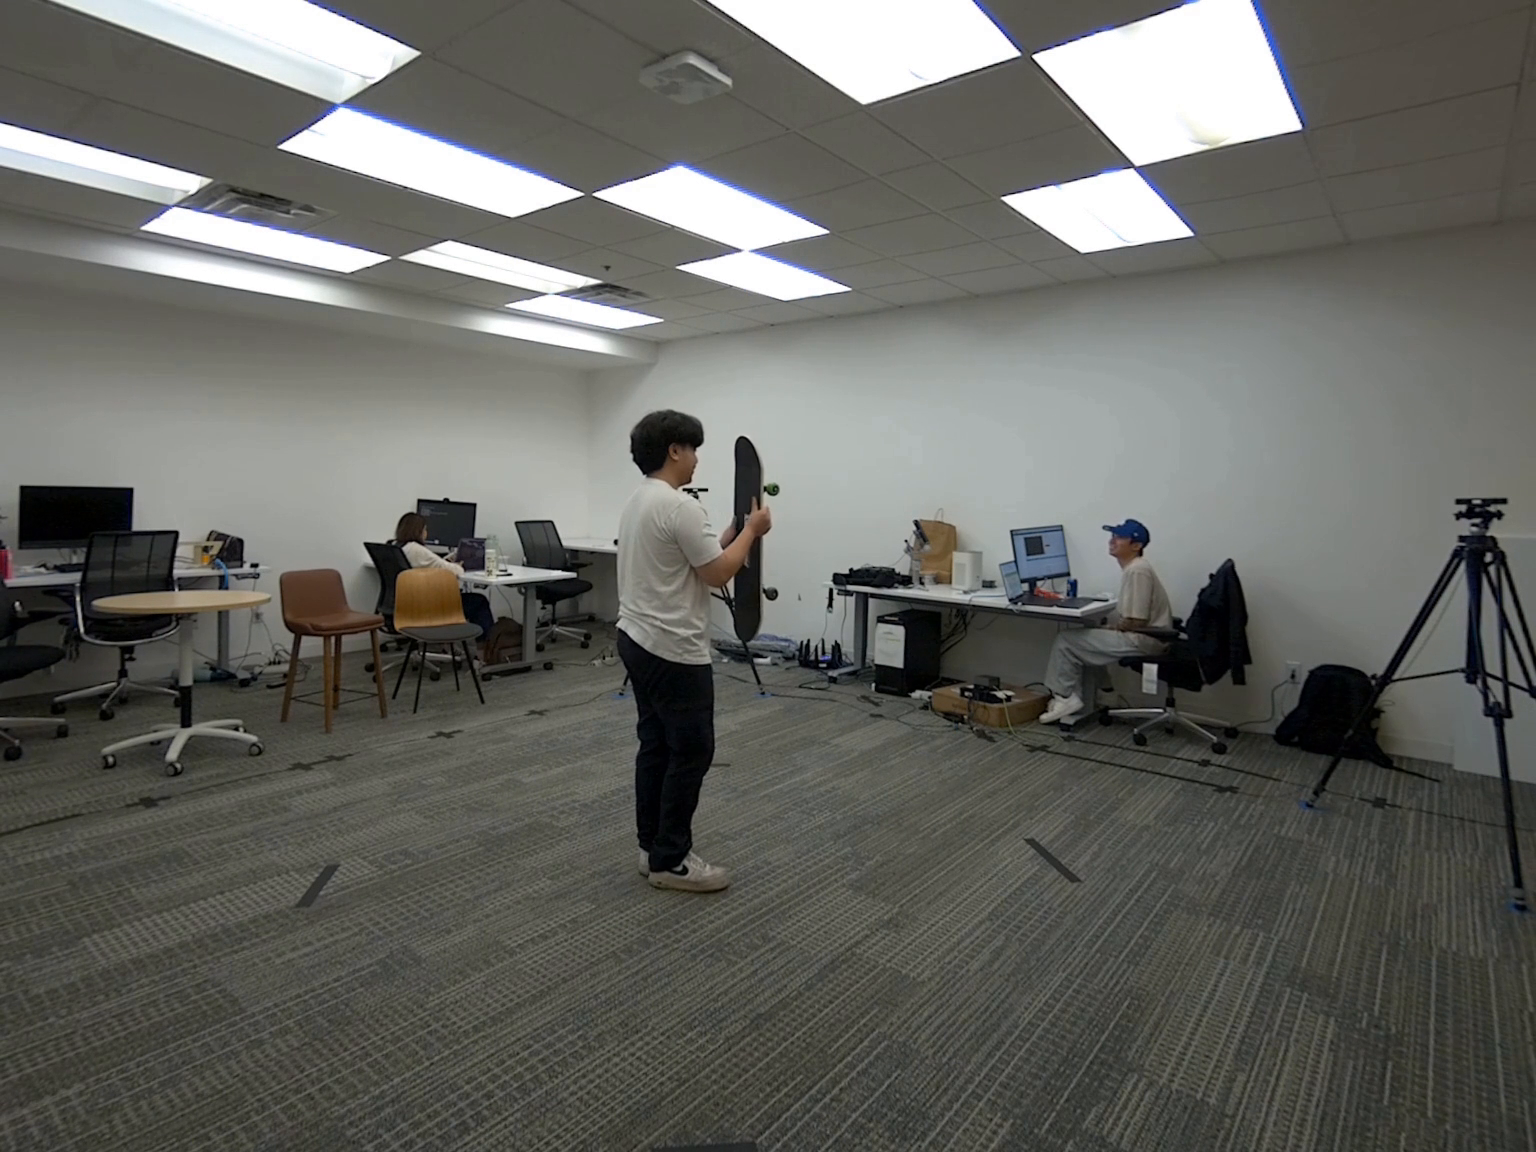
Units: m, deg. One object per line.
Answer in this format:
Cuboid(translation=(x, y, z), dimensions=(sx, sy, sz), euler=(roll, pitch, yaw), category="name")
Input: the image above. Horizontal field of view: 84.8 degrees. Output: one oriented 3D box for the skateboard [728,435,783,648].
Cuboid(translation=(-0.056, -0.140, 3.228), dimensions=(0.108, 0.778, 0.200), euler=(-4, 12, -29), category="skateboard")
